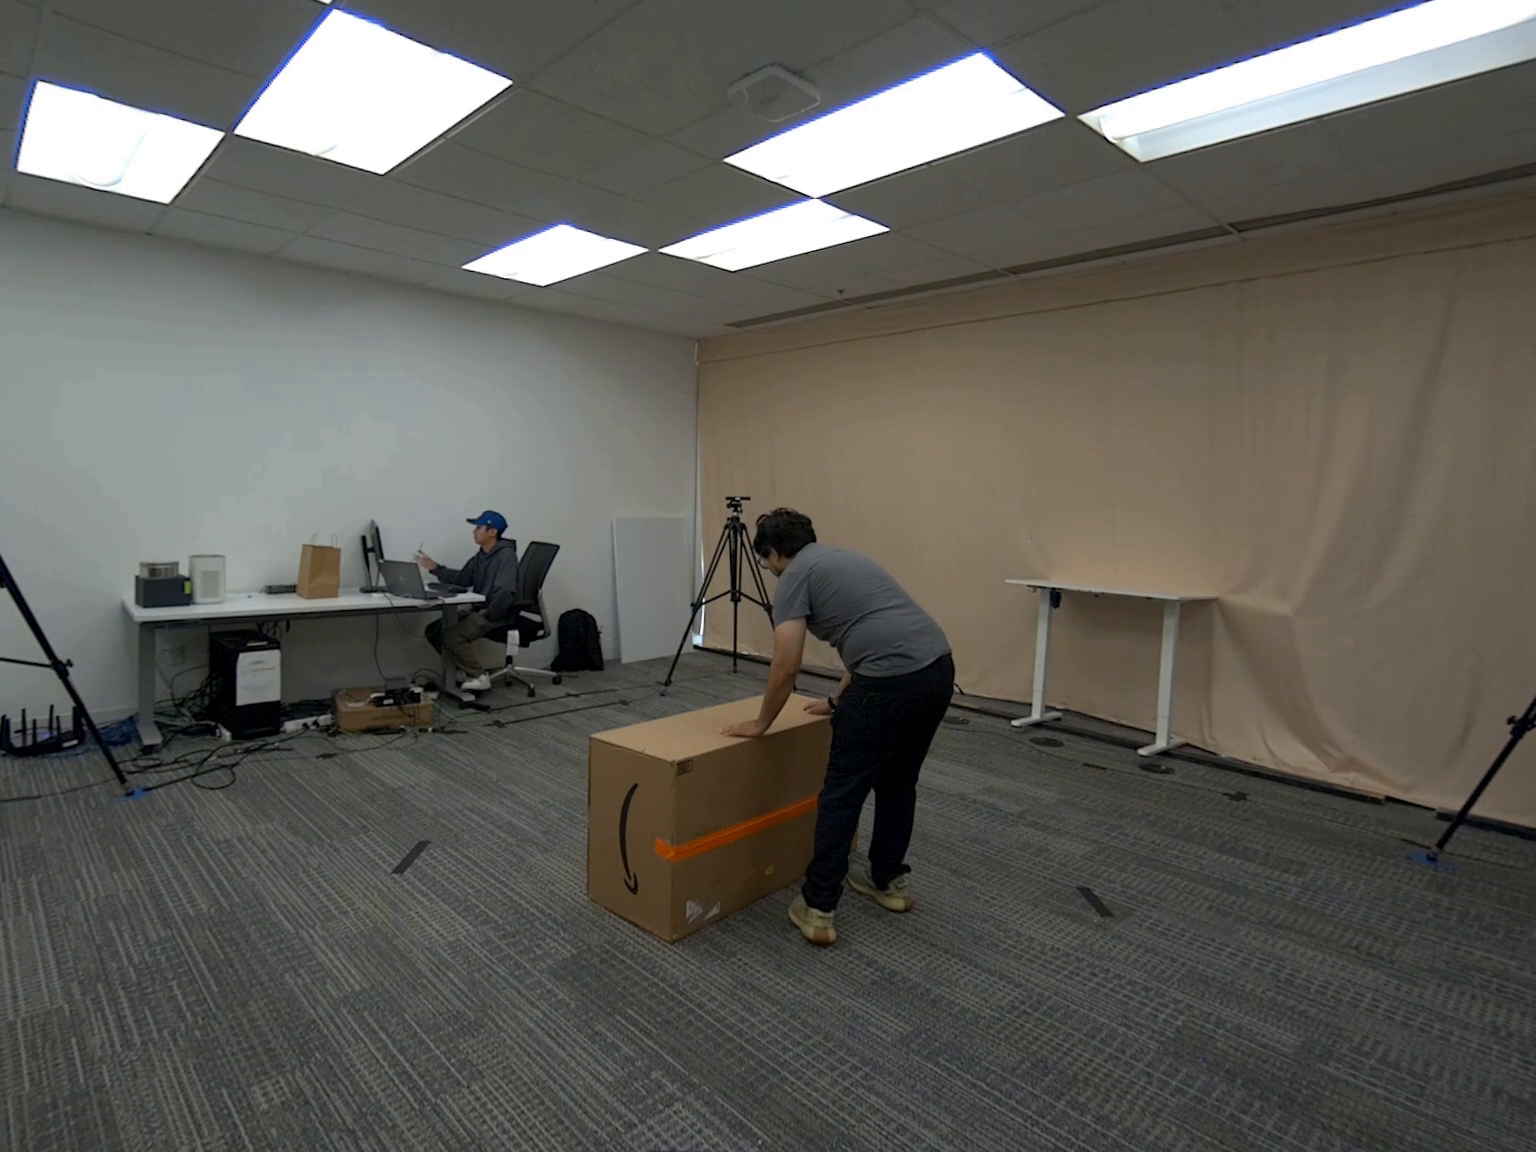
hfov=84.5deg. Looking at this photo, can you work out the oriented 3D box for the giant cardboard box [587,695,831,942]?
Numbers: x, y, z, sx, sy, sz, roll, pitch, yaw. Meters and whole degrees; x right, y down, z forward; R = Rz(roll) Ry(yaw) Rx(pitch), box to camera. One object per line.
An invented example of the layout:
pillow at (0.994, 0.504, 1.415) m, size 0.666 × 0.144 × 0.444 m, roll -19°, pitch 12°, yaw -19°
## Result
giant cardboard box at (-0.130, 0.814, 3.108) m, size 0.437 × 0.576 × 1.003 m, roll 5°, pitch 6°, yaw 41°
